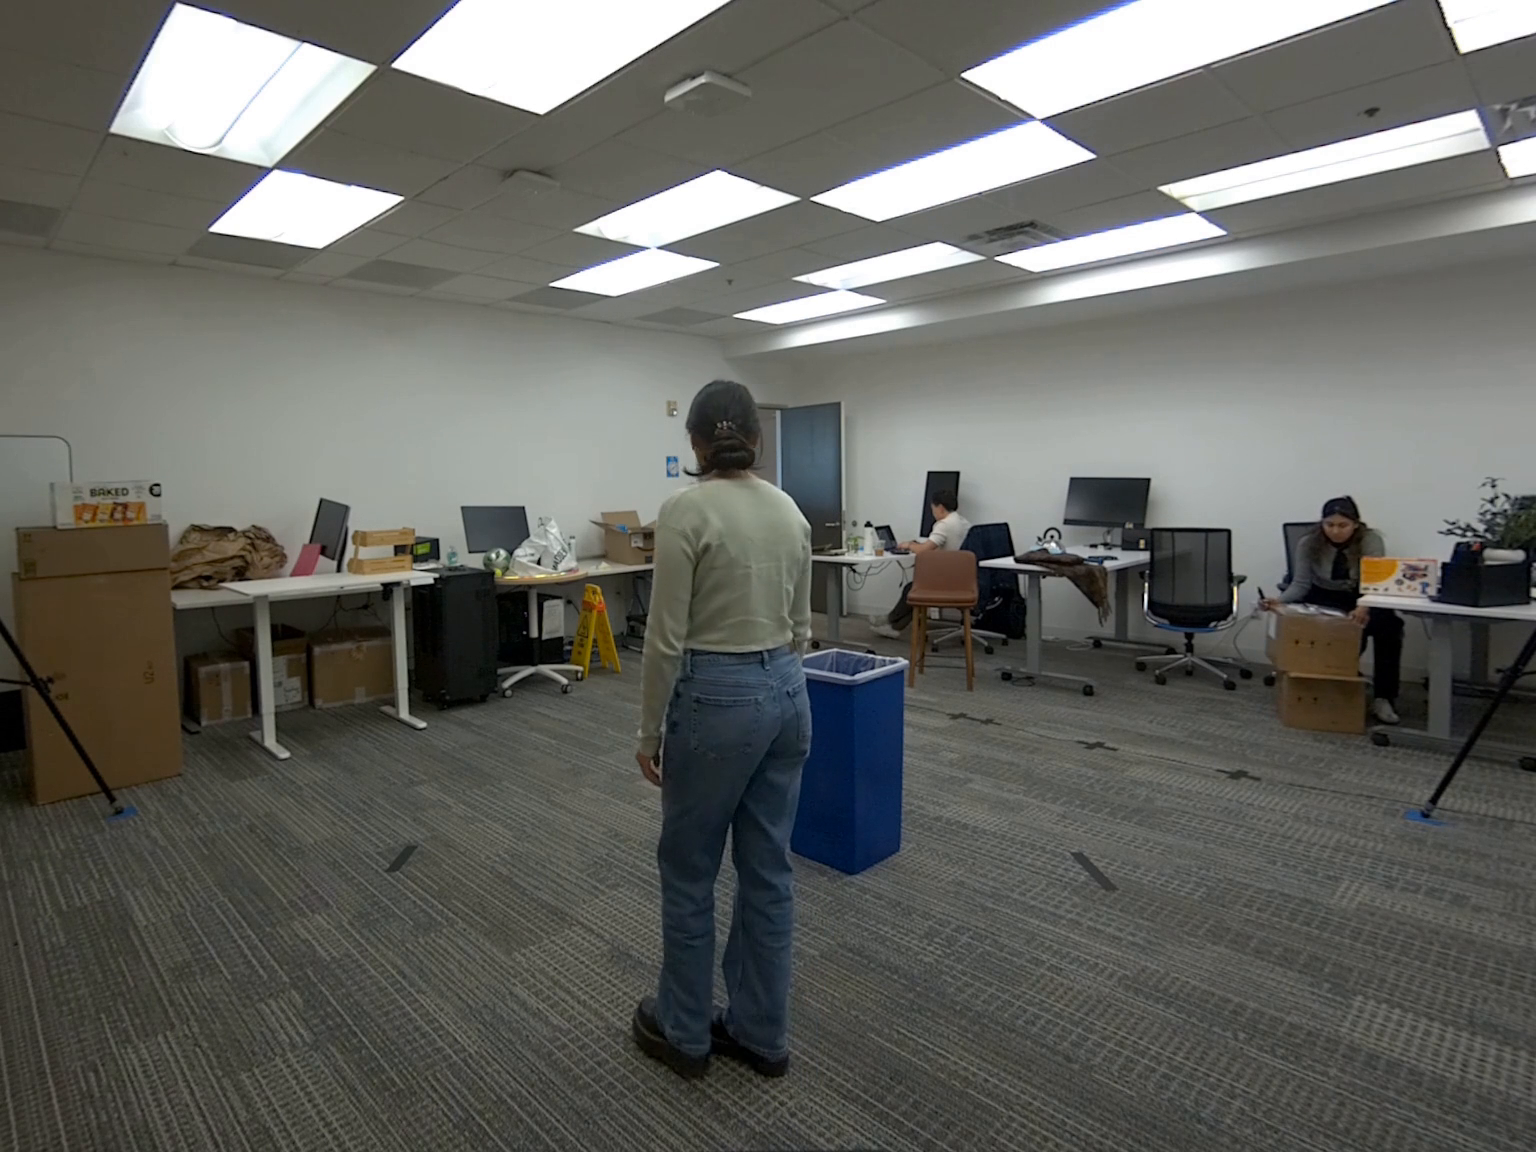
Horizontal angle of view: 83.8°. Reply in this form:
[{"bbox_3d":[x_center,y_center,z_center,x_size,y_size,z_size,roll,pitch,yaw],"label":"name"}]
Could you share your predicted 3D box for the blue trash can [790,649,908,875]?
[{"bbox_3d":[0.285,0.673,3.170,0.389,0.711,0.364,2,5,44],"label":"blue trash can"}]
